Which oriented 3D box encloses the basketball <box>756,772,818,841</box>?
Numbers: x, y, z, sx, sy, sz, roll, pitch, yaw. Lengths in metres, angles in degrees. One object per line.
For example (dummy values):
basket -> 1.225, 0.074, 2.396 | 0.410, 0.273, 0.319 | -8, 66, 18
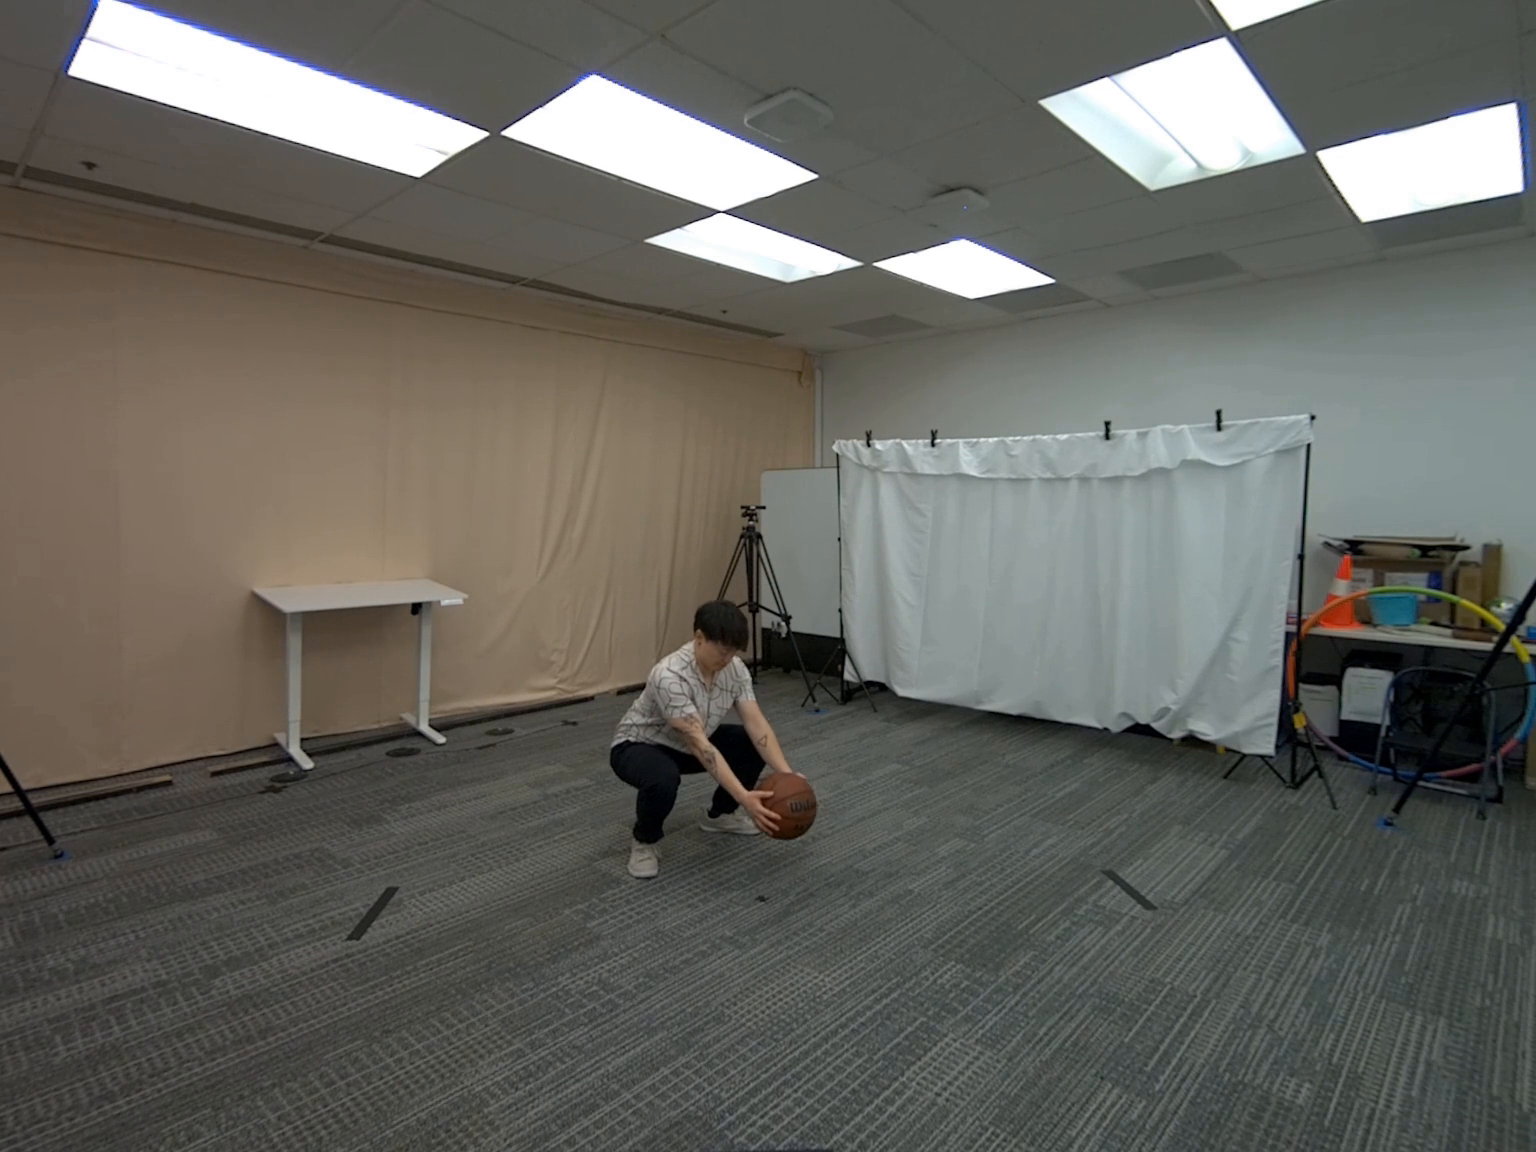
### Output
basketball -> 0.053, 0.832, 3.071 | 0.236, 0.235, 0.237 | 0, 4, -2
